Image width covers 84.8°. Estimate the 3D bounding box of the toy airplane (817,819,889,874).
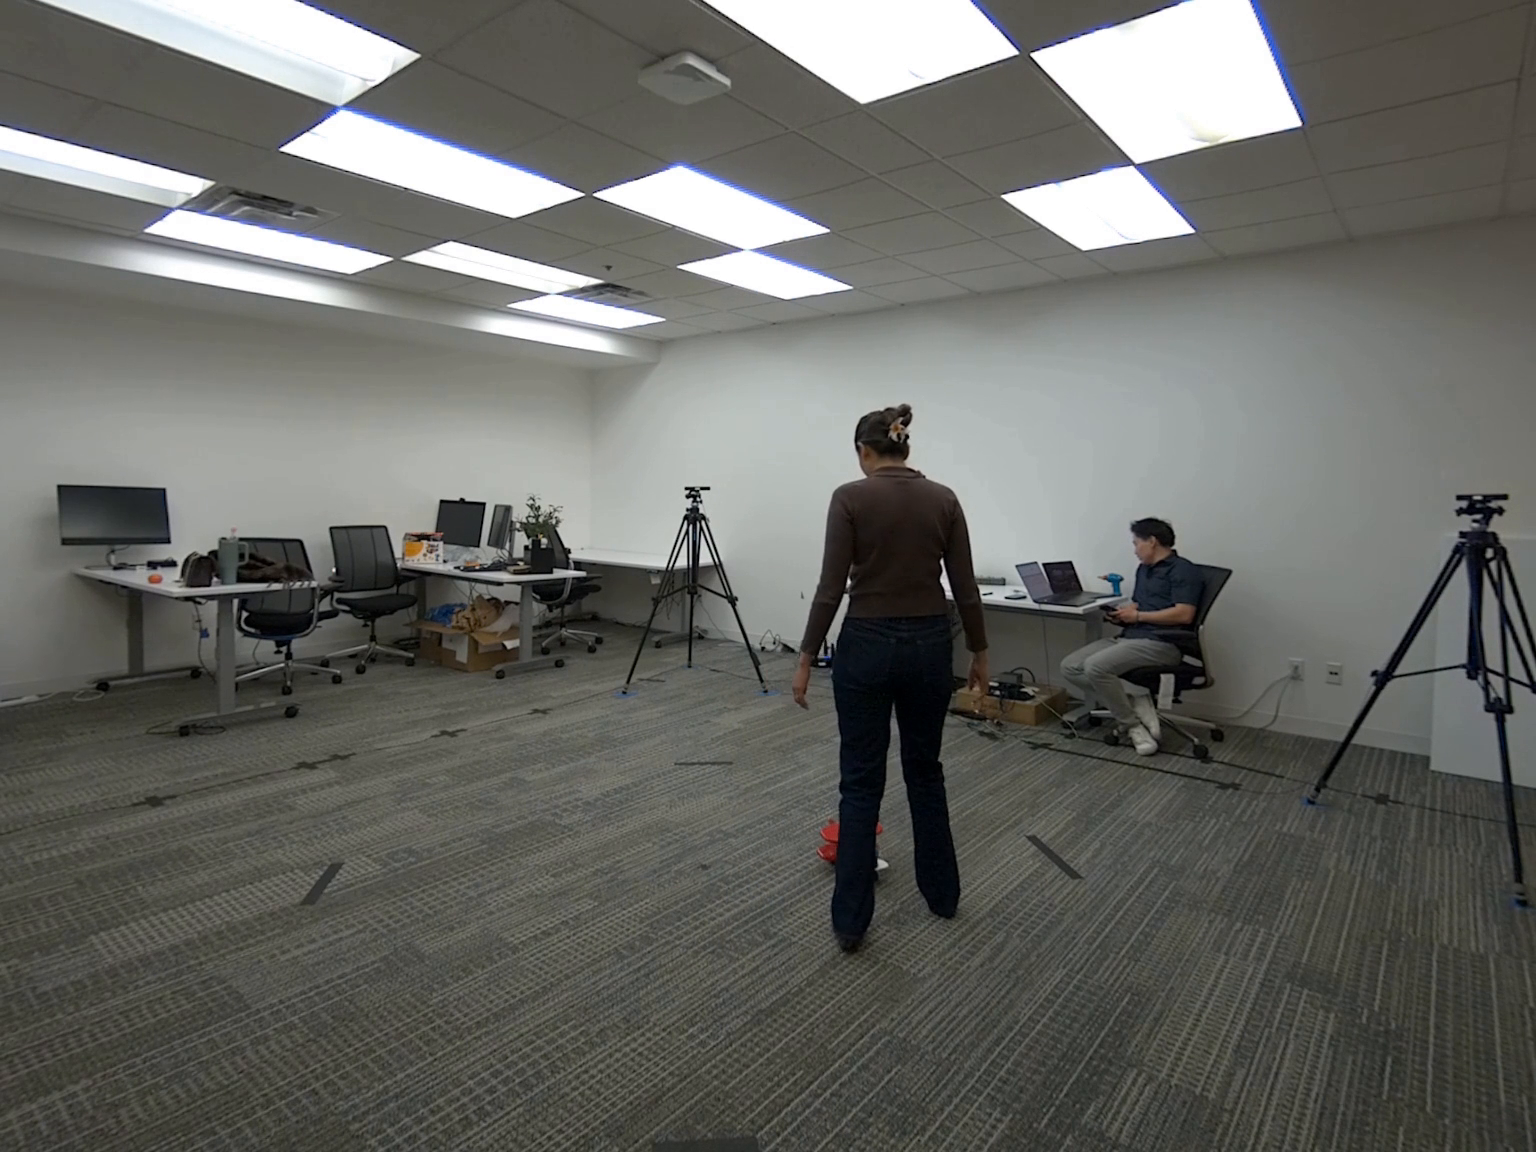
[{"bbox_3d":[0.322,0.995,3.118,0.267,0.156,0.244,3,3,35],"label":"toy airplane"}]
